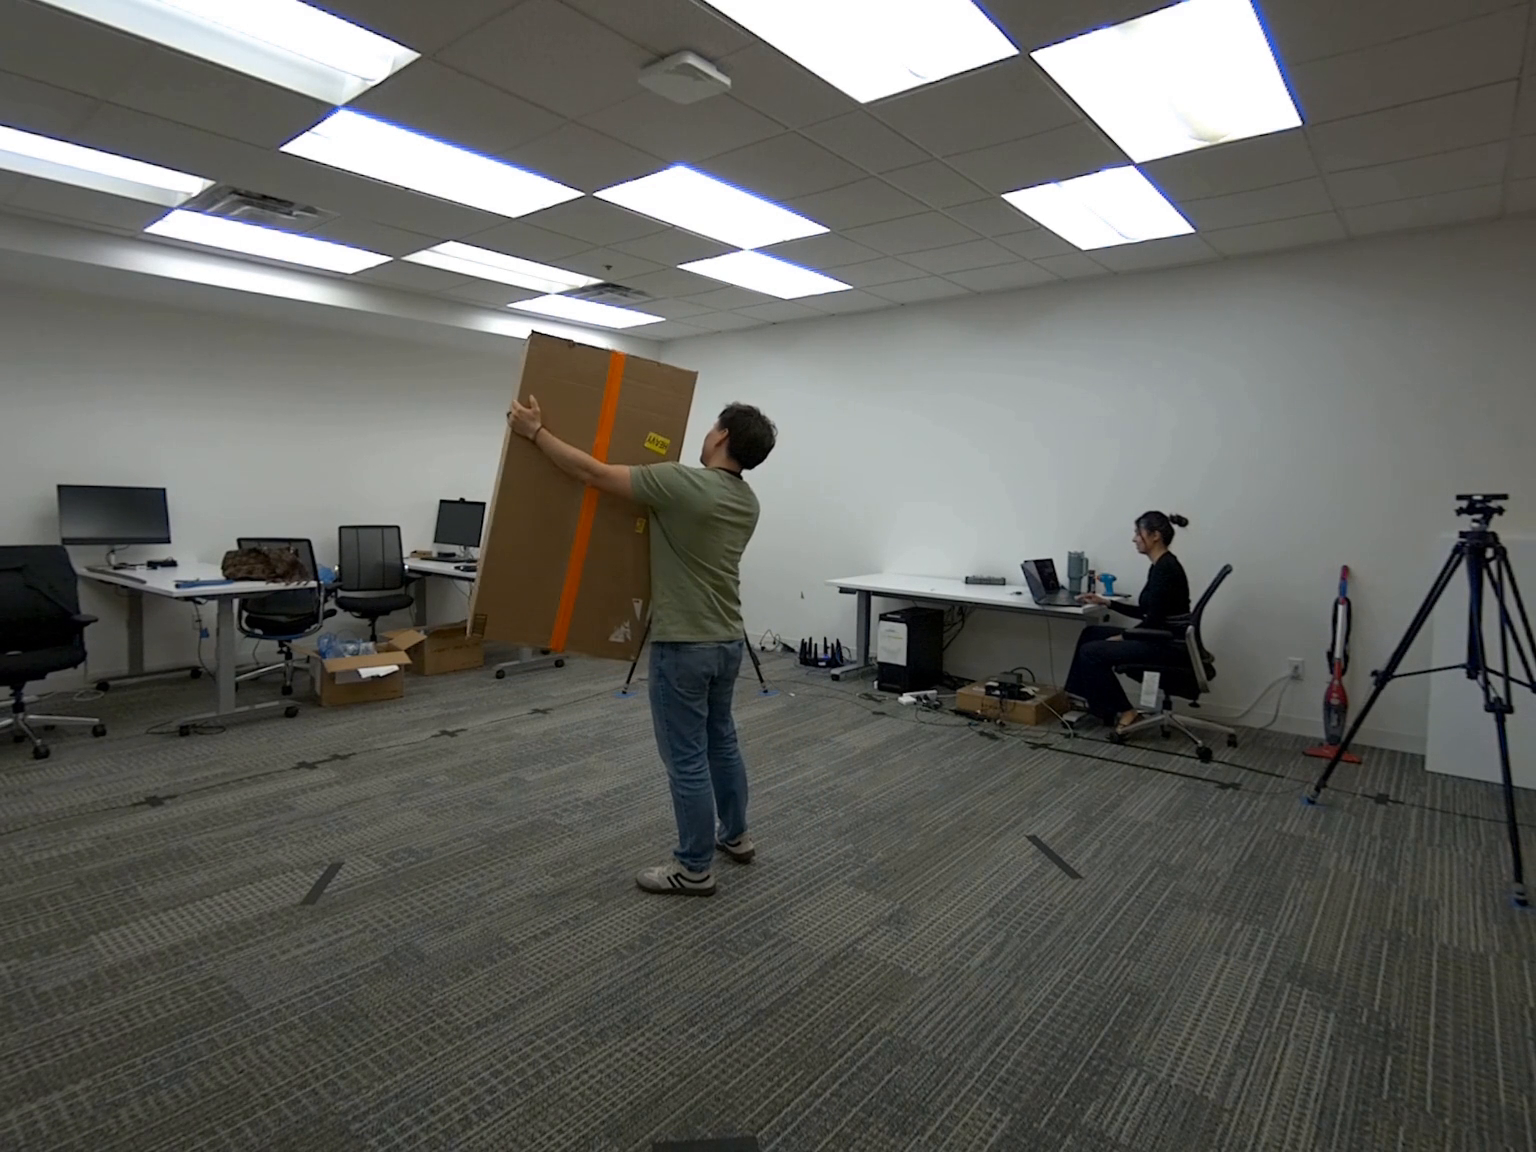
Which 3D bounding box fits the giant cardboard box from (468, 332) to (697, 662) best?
[{"bbox_3d":[-0.681,-0.266,3.028,0.565,1.024,0.437,12,3,-19],"label":"giant cardboard box"}]
